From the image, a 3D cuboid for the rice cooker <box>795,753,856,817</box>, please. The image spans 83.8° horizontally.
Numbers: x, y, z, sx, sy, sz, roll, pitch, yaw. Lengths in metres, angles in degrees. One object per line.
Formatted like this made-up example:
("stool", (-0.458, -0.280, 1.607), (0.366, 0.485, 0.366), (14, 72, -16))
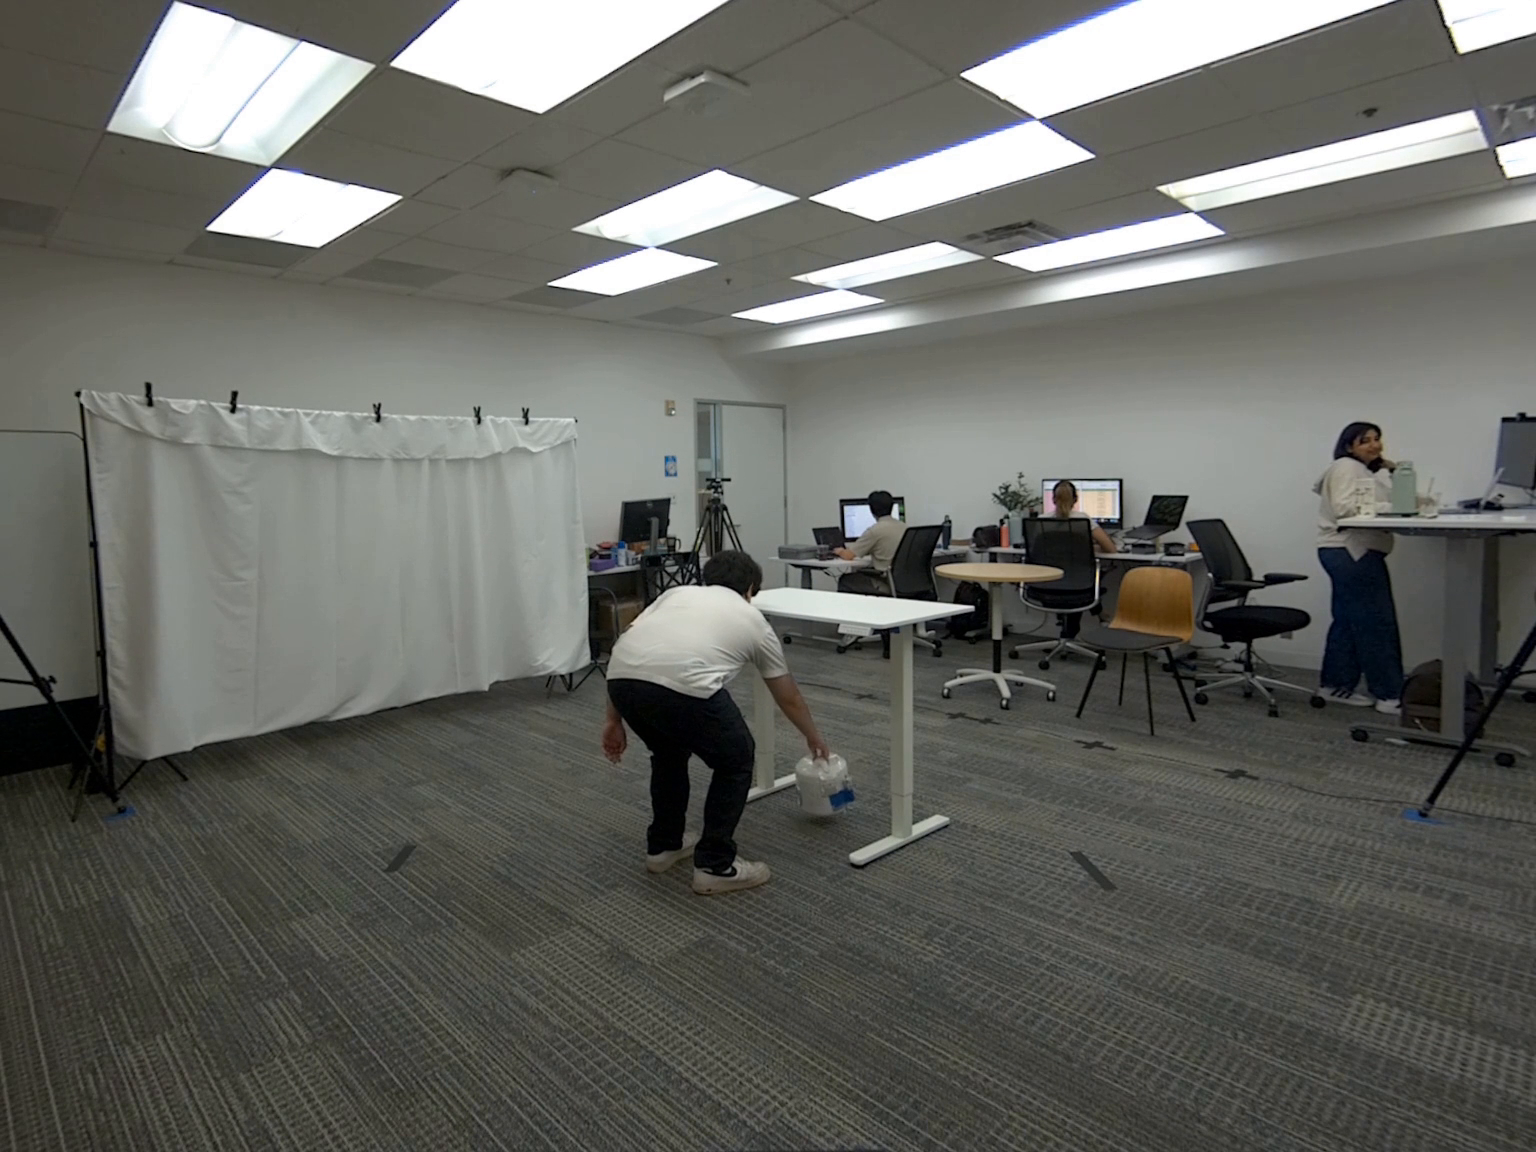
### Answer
("rice cooker", (0.222, 0.834, 3.461), (0.216, 0.230, 0.225), (-10, 12, -9))
